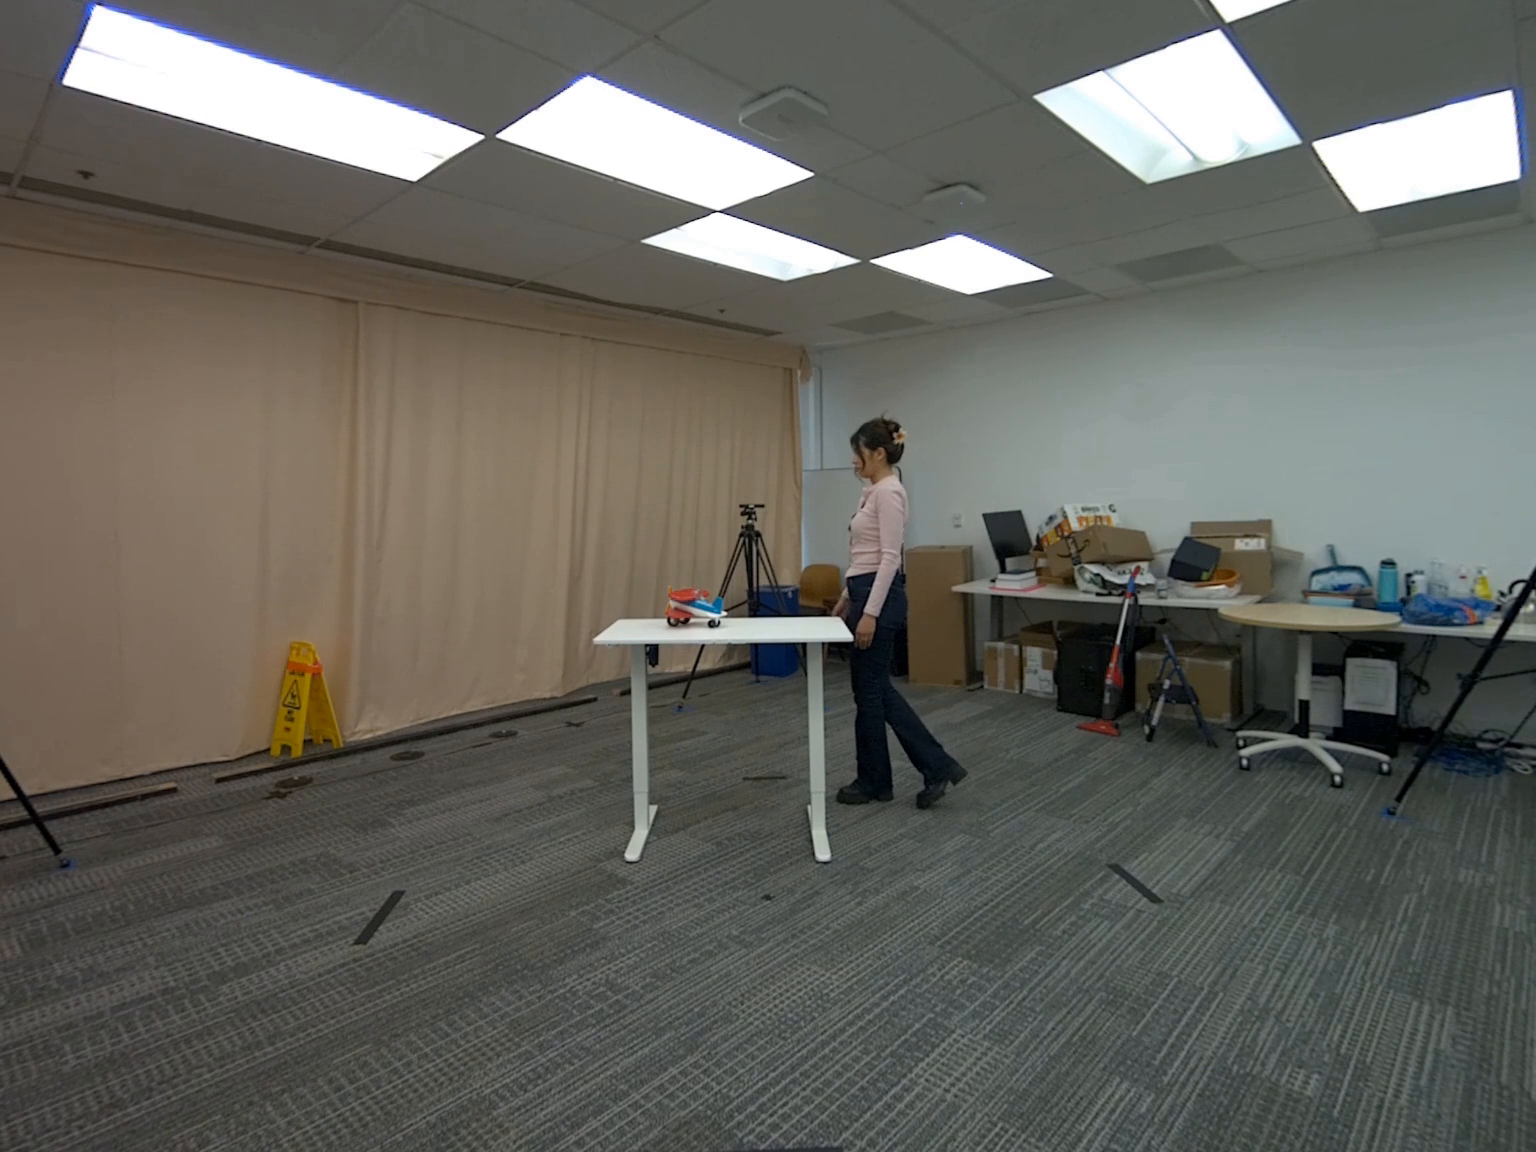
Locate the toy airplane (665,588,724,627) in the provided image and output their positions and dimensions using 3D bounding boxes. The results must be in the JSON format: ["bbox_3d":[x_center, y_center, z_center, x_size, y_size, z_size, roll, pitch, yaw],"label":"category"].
[{"bbox_3d":[-0.306,0.136,3.601,0.259,0.156,0.251,-2,4,0],"label":"toy airplane"}]
